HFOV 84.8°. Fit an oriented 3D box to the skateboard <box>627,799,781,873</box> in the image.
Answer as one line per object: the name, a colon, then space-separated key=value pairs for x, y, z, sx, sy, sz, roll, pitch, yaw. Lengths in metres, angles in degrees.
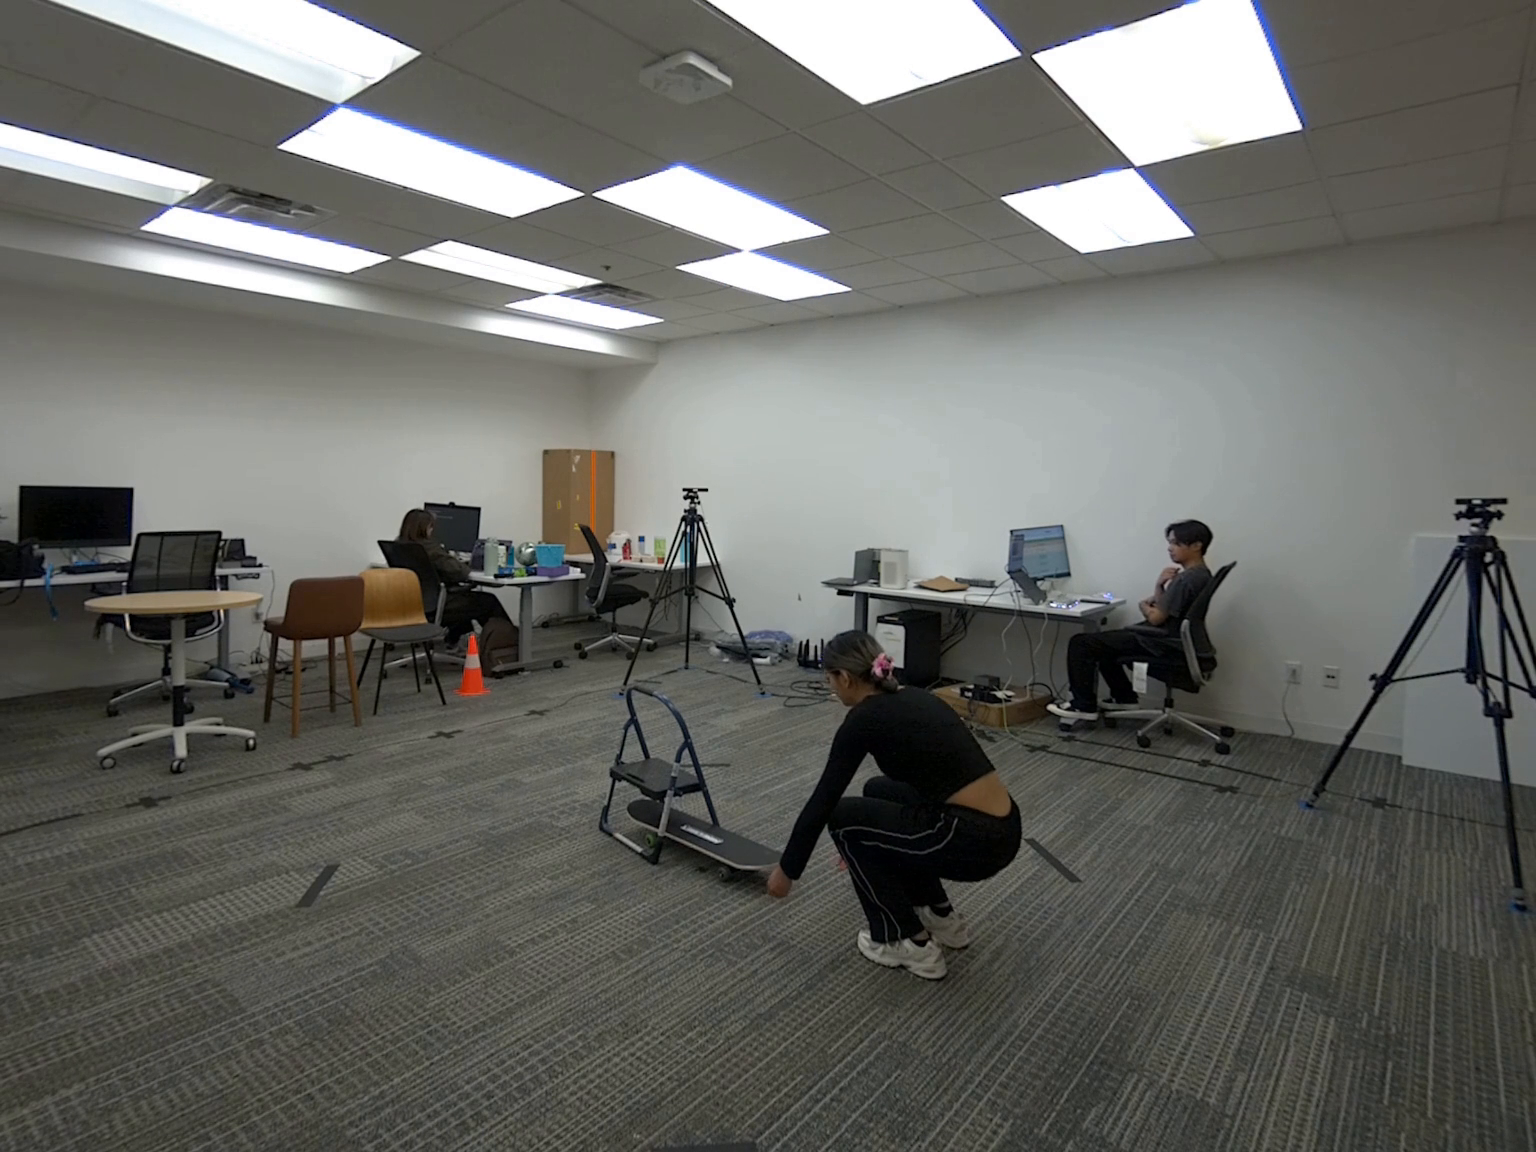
skateboard: x=-0.263 y=0.997 z=3.210 sx=0.813 sy=0.110 sz=0.188 roll=6 pitch=8 yaw=44
